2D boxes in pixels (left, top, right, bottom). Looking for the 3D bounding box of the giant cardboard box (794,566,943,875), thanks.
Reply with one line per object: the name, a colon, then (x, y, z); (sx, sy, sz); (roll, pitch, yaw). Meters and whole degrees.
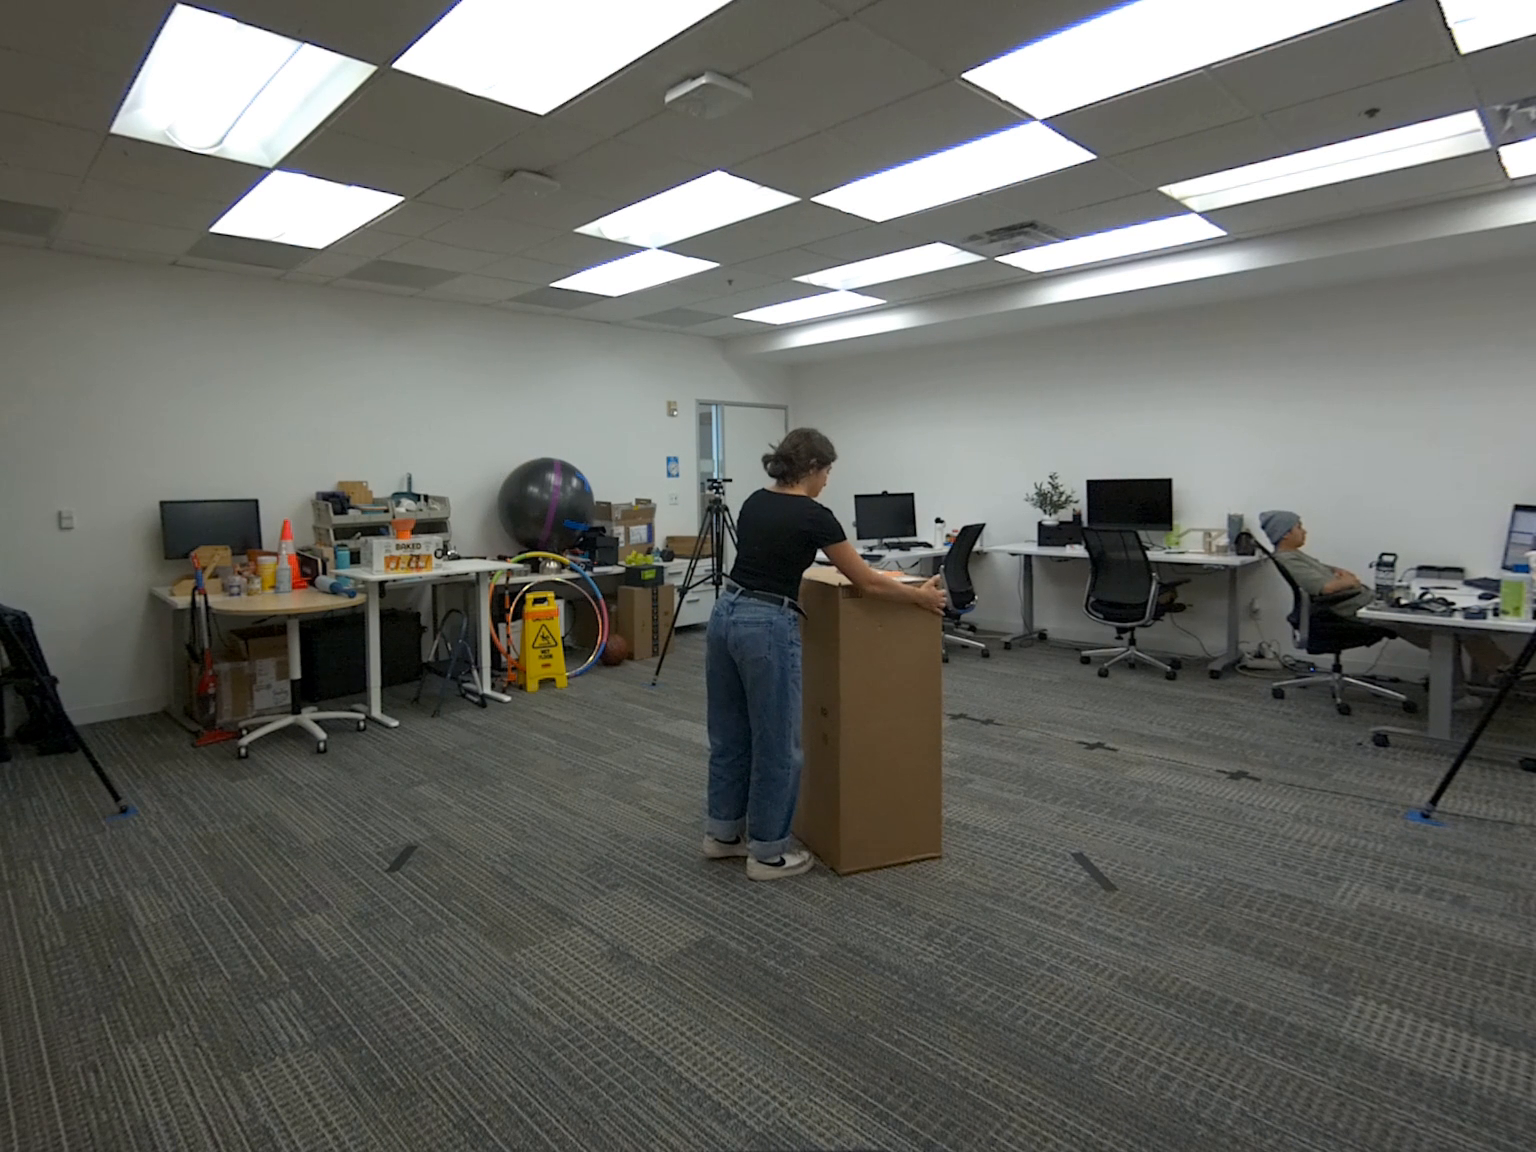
giant cardboard box: (0.338, 0.503, 3.307); (0.418, 1.023, 0.590); (-2, 4, -22)
